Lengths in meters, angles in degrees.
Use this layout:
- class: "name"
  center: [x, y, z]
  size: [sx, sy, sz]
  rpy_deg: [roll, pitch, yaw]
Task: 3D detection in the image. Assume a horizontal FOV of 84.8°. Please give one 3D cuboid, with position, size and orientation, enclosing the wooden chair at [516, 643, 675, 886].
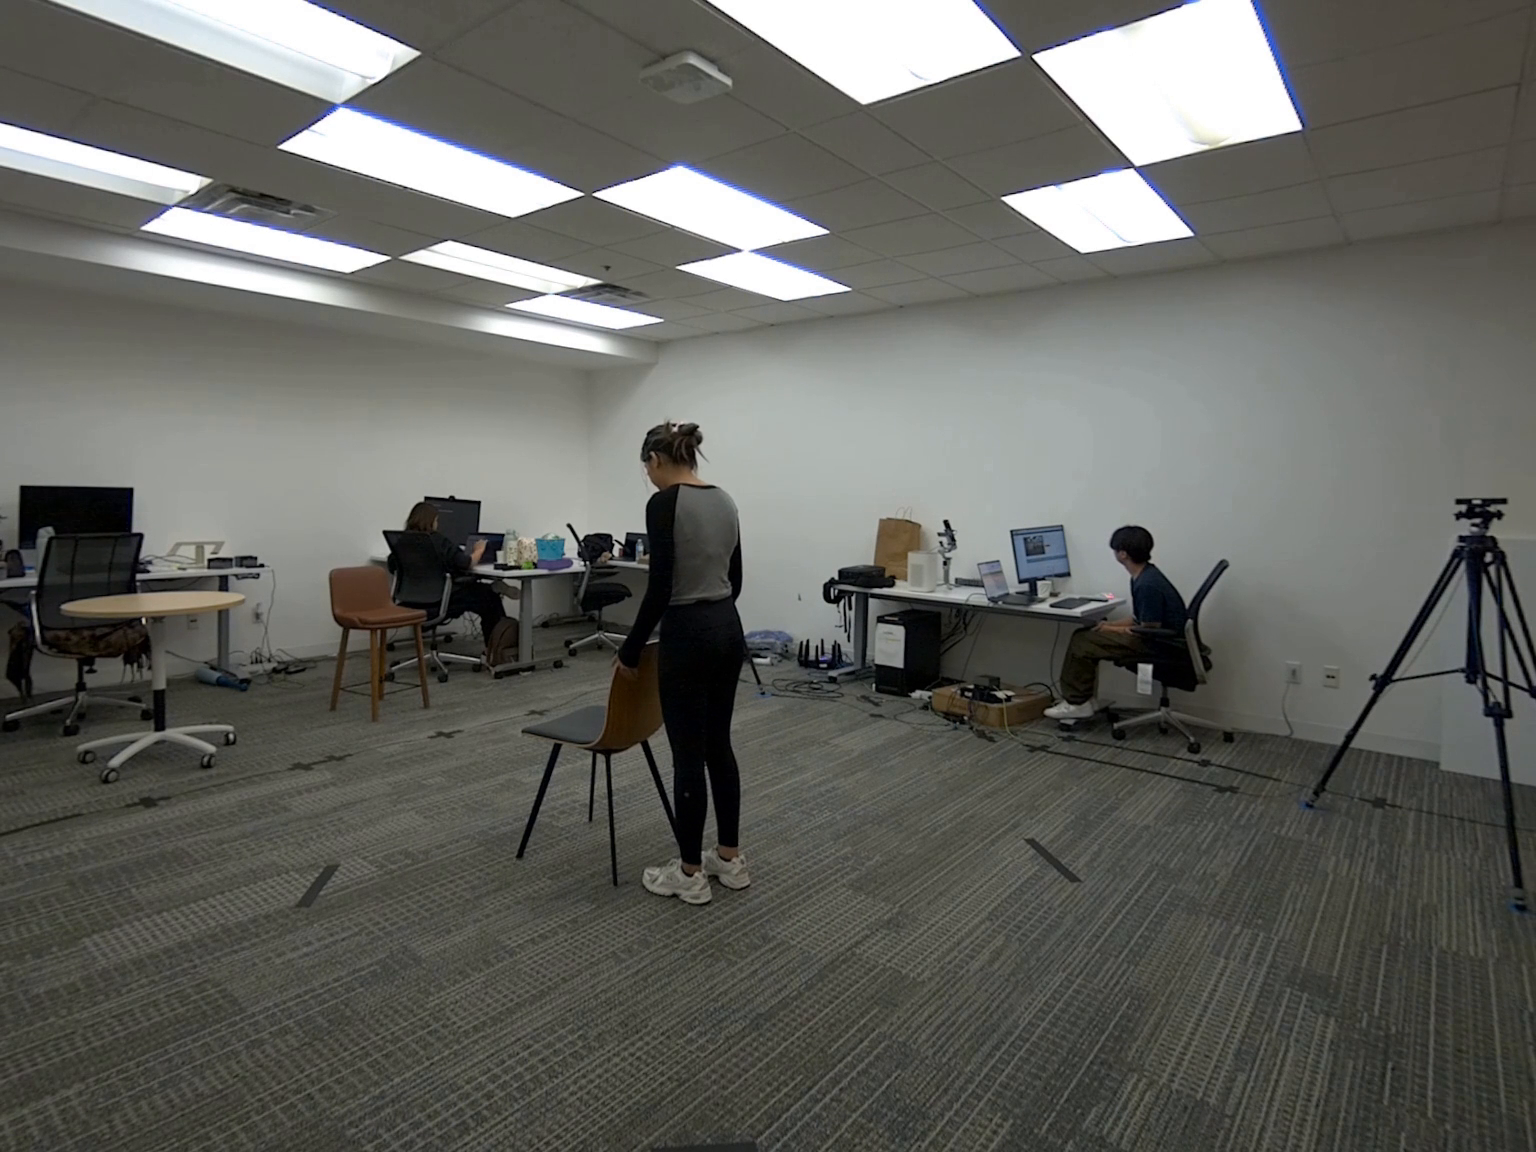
- class: "wooden chair"
  center: [-0.647, 0.622, 3.231]
  size: [0.538, 0.873, 0.466]
  rpy_deg: [8, 6, 27]
